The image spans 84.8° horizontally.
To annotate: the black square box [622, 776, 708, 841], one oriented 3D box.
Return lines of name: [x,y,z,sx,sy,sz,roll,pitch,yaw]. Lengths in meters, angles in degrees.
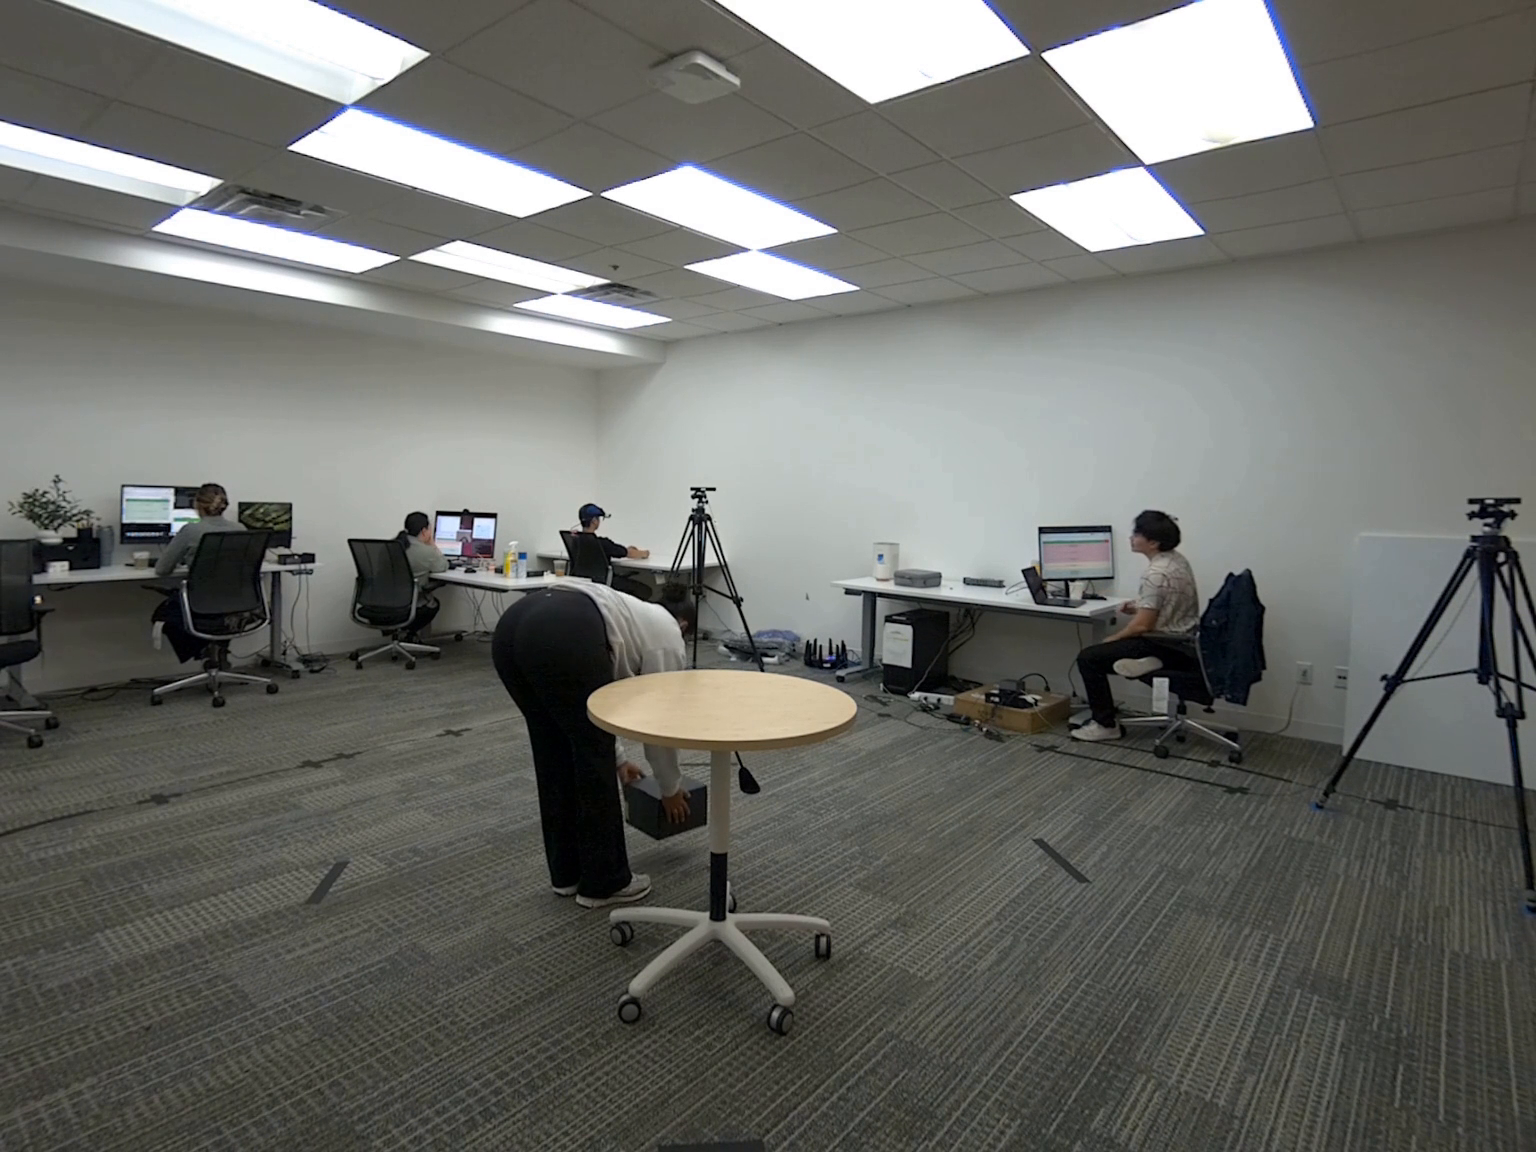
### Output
black square box: [-0.394,0.837,3.190,0.221,0.155,0.224,-5,8,-43]
